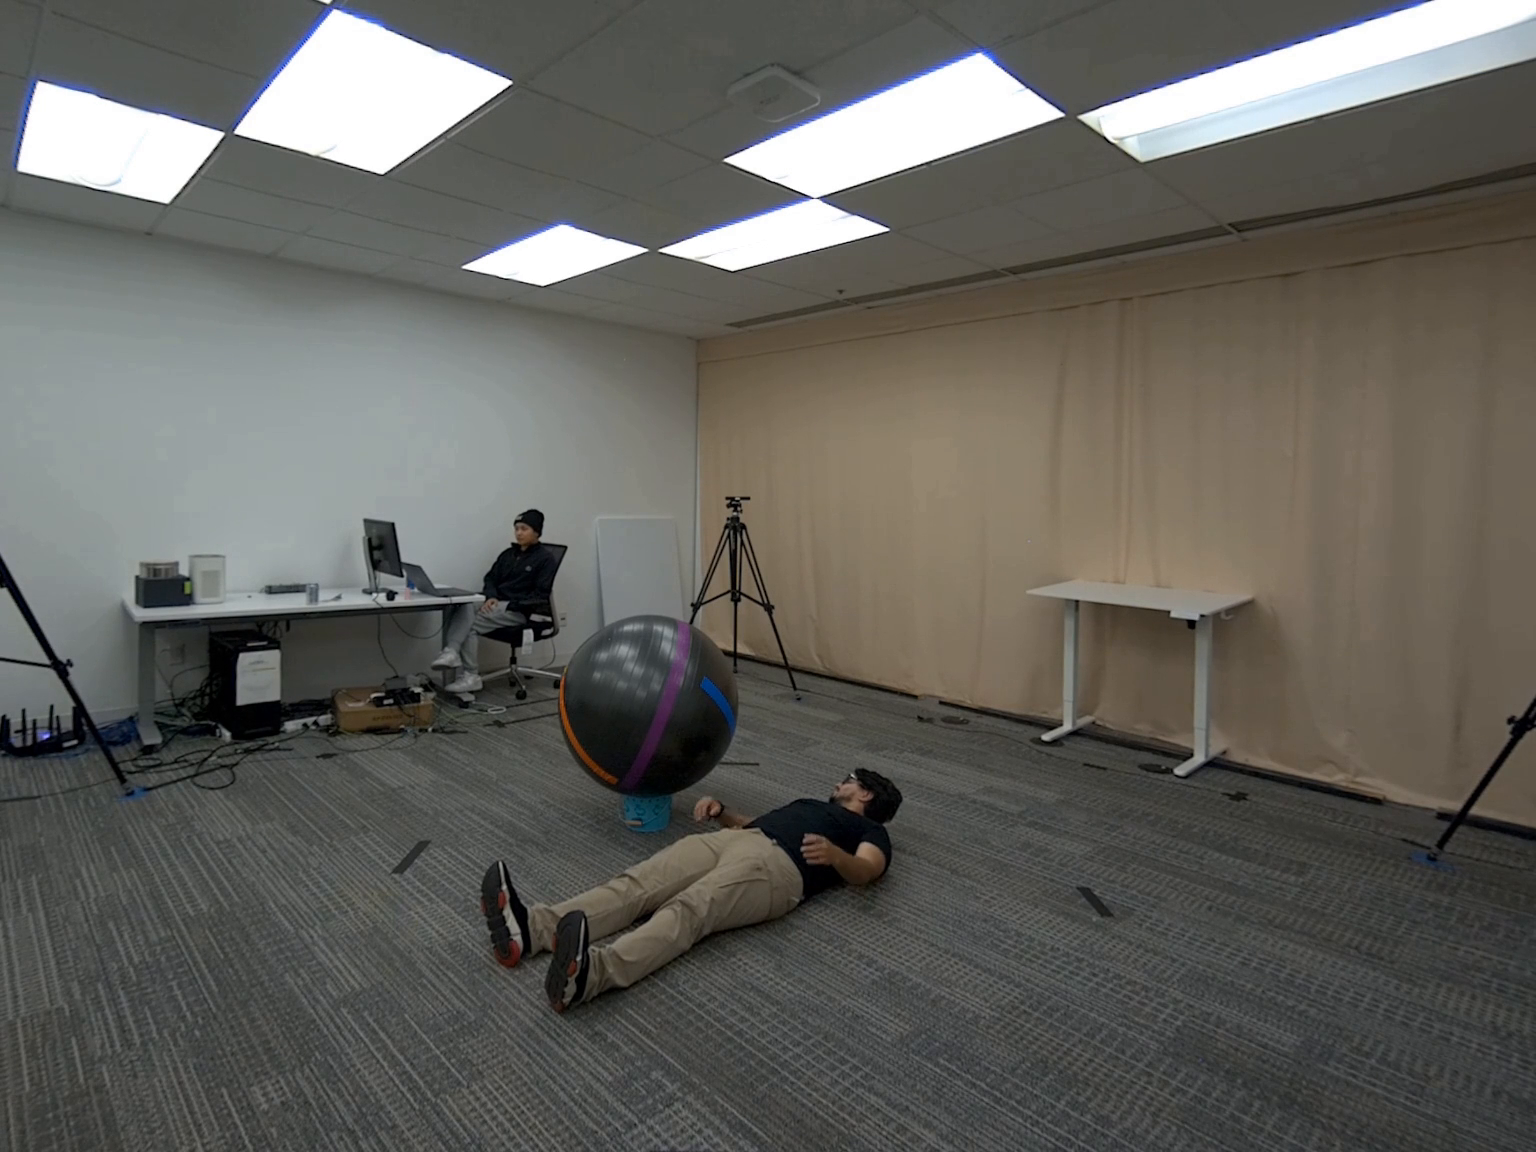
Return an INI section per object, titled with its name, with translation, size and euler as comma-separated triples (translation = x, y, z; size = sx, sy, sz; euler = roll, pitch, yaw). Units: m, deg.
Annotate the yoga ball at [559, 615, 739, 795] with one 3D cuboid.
[yoga ball]
translation = -0.509, 0.546, 3.568
size = 0.757, 0.755, 0.761
euler = 1, 5, -1
